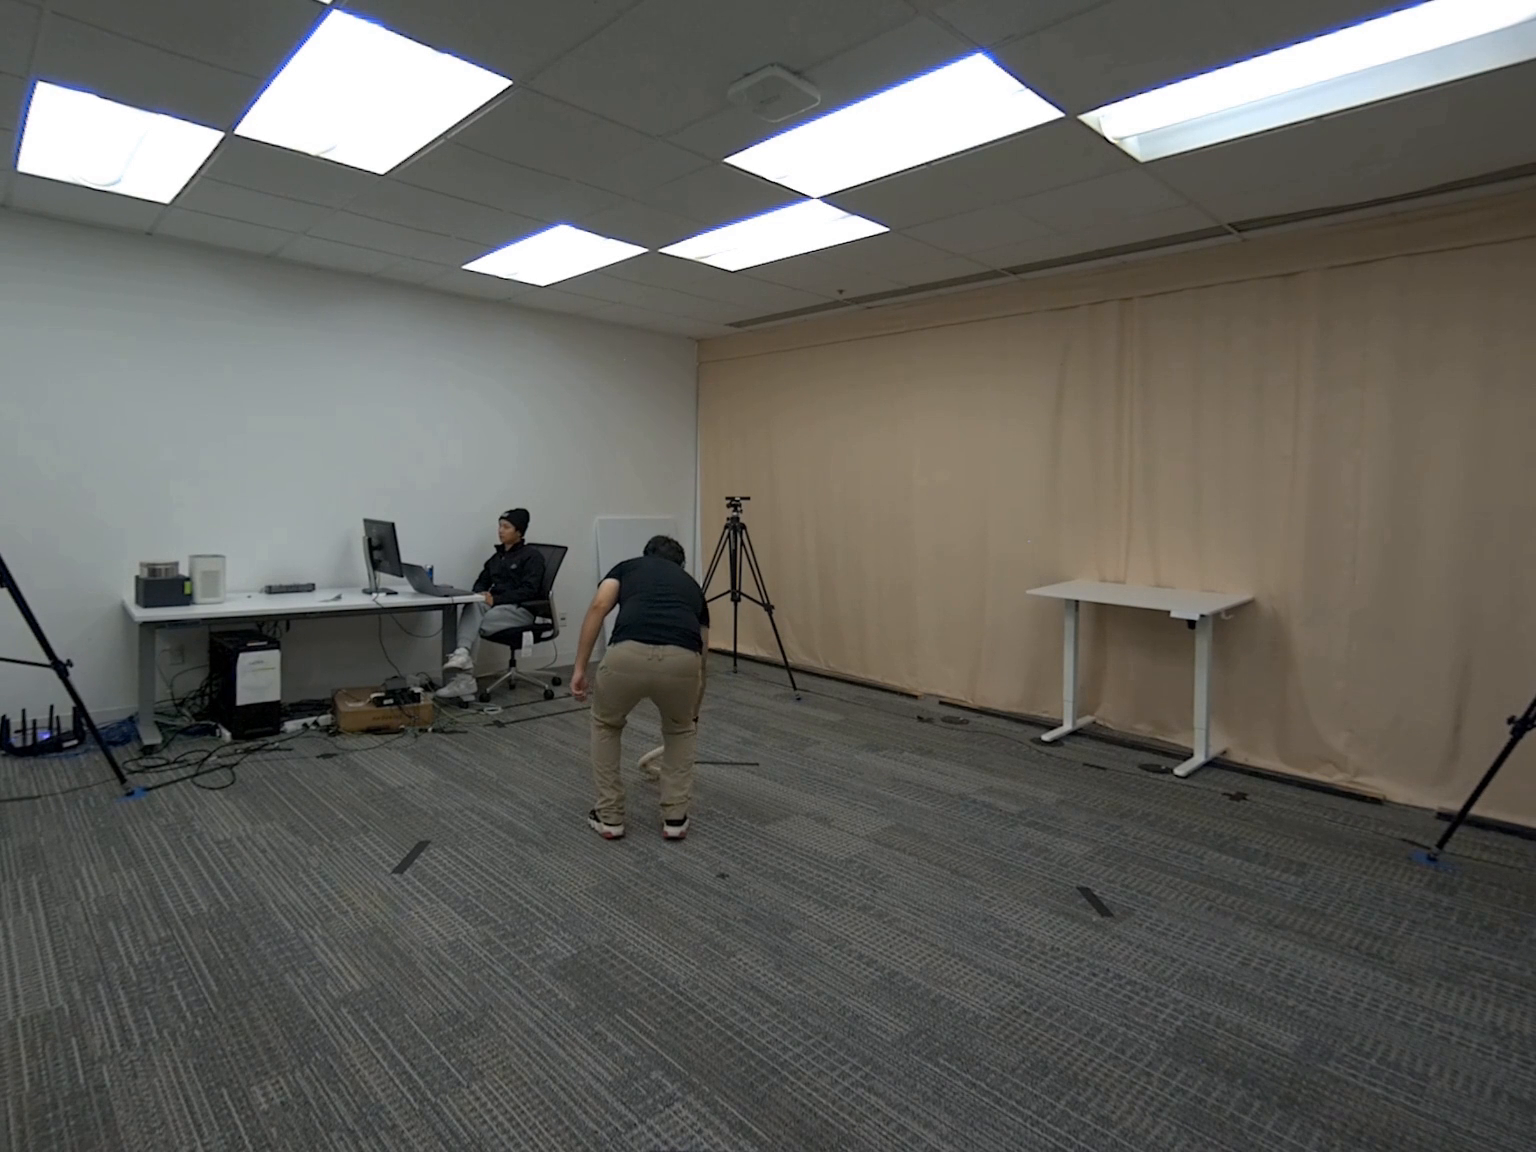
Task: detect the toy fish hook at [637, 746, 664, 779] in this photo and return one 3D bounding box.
[{"bbox_3d":[-0.446,0.833,4.014,0.219,0.049,0.507,16,-41,-31],"label":"toy fish hook"}]
